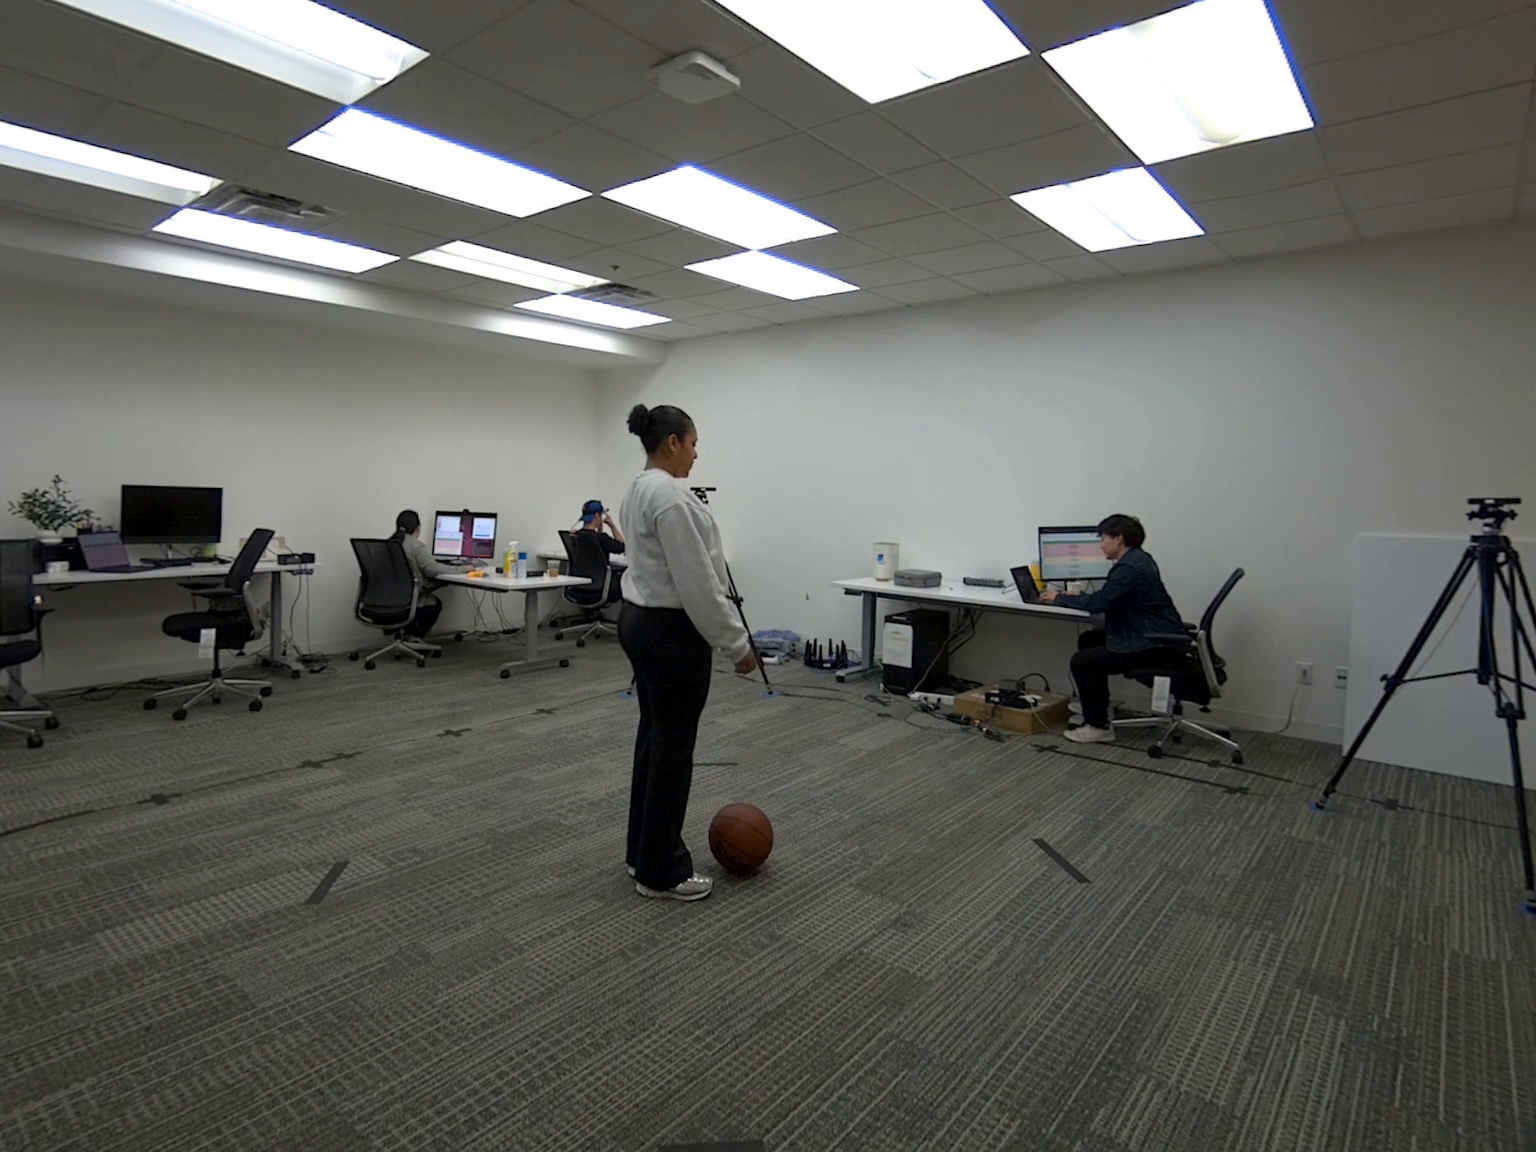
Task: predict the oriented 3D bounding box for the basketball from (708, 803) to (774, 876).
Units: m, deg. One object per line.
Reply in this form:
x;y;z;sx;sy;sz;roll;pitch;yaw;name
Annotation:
-0.109;0.951;3.100;0.235;0.235;0.237;1;4;-2;basketball
